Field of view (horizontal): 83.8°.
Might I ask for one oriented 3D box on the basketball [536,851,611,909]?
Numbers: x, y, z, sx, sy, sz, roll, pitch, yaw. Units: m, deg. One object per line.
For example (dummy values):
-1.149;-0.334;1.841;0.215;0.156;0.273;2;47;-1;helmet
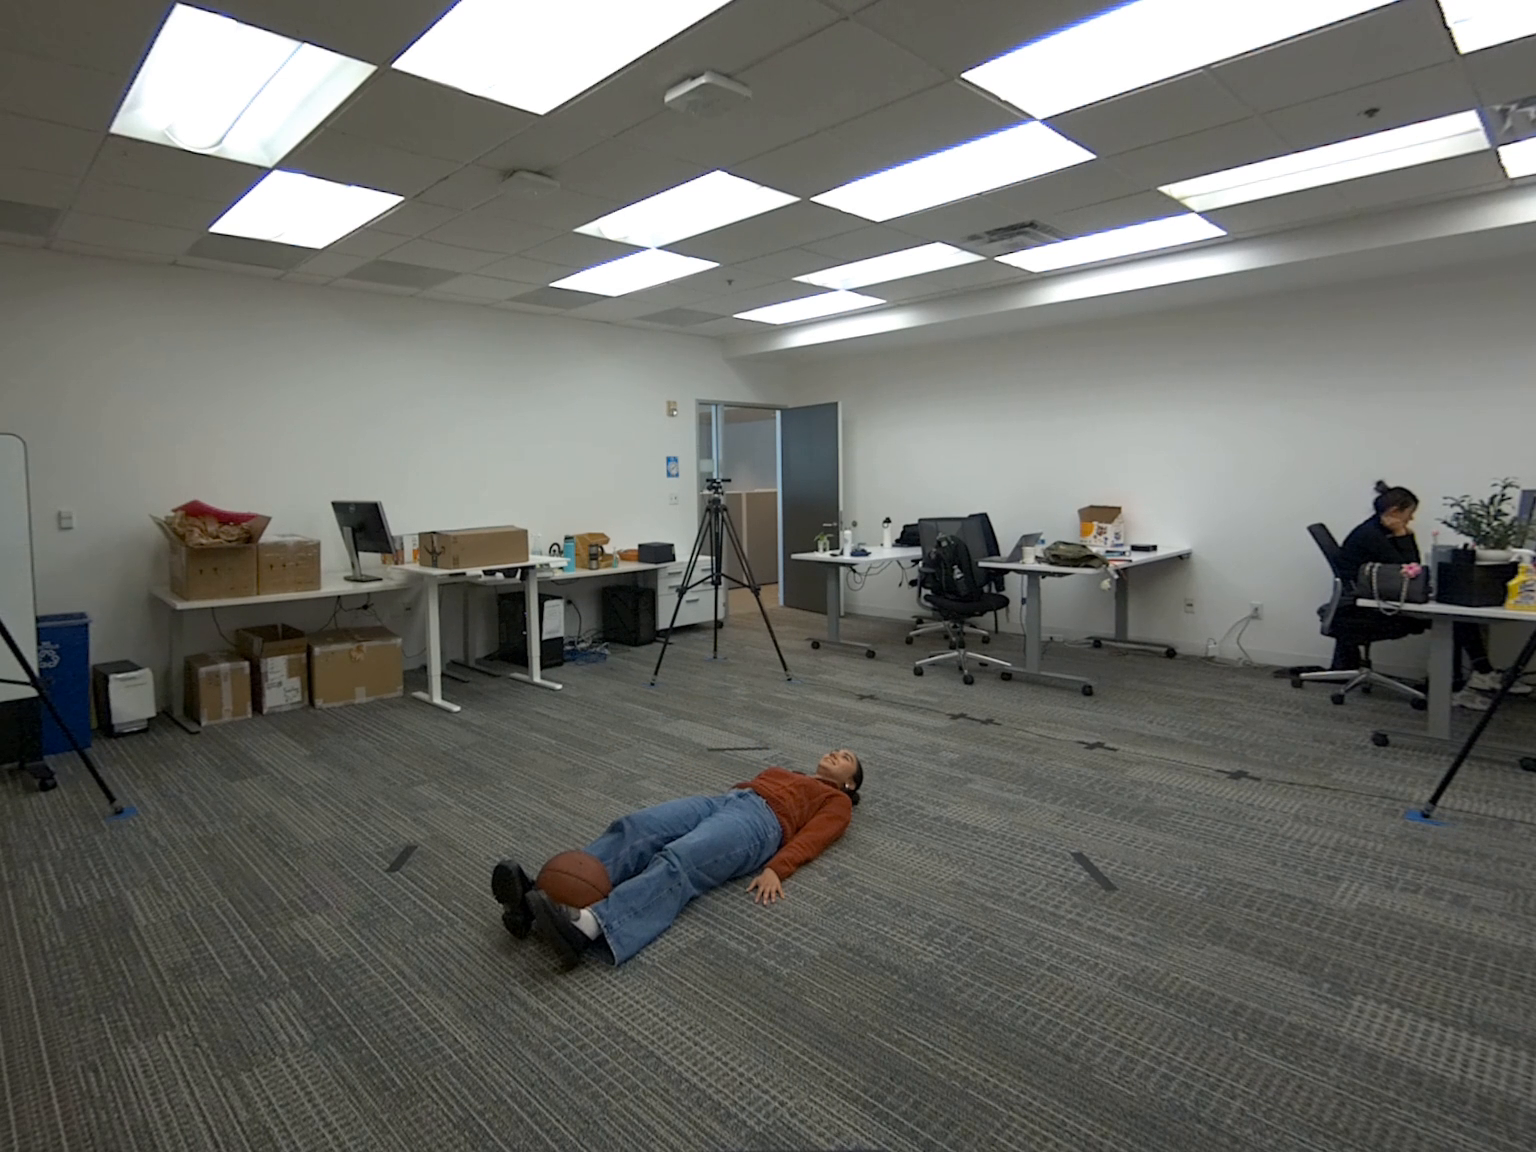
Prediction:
-0.598;0.963;2.624;0.236;0.235;0.237;-1;5;-2;basketball
